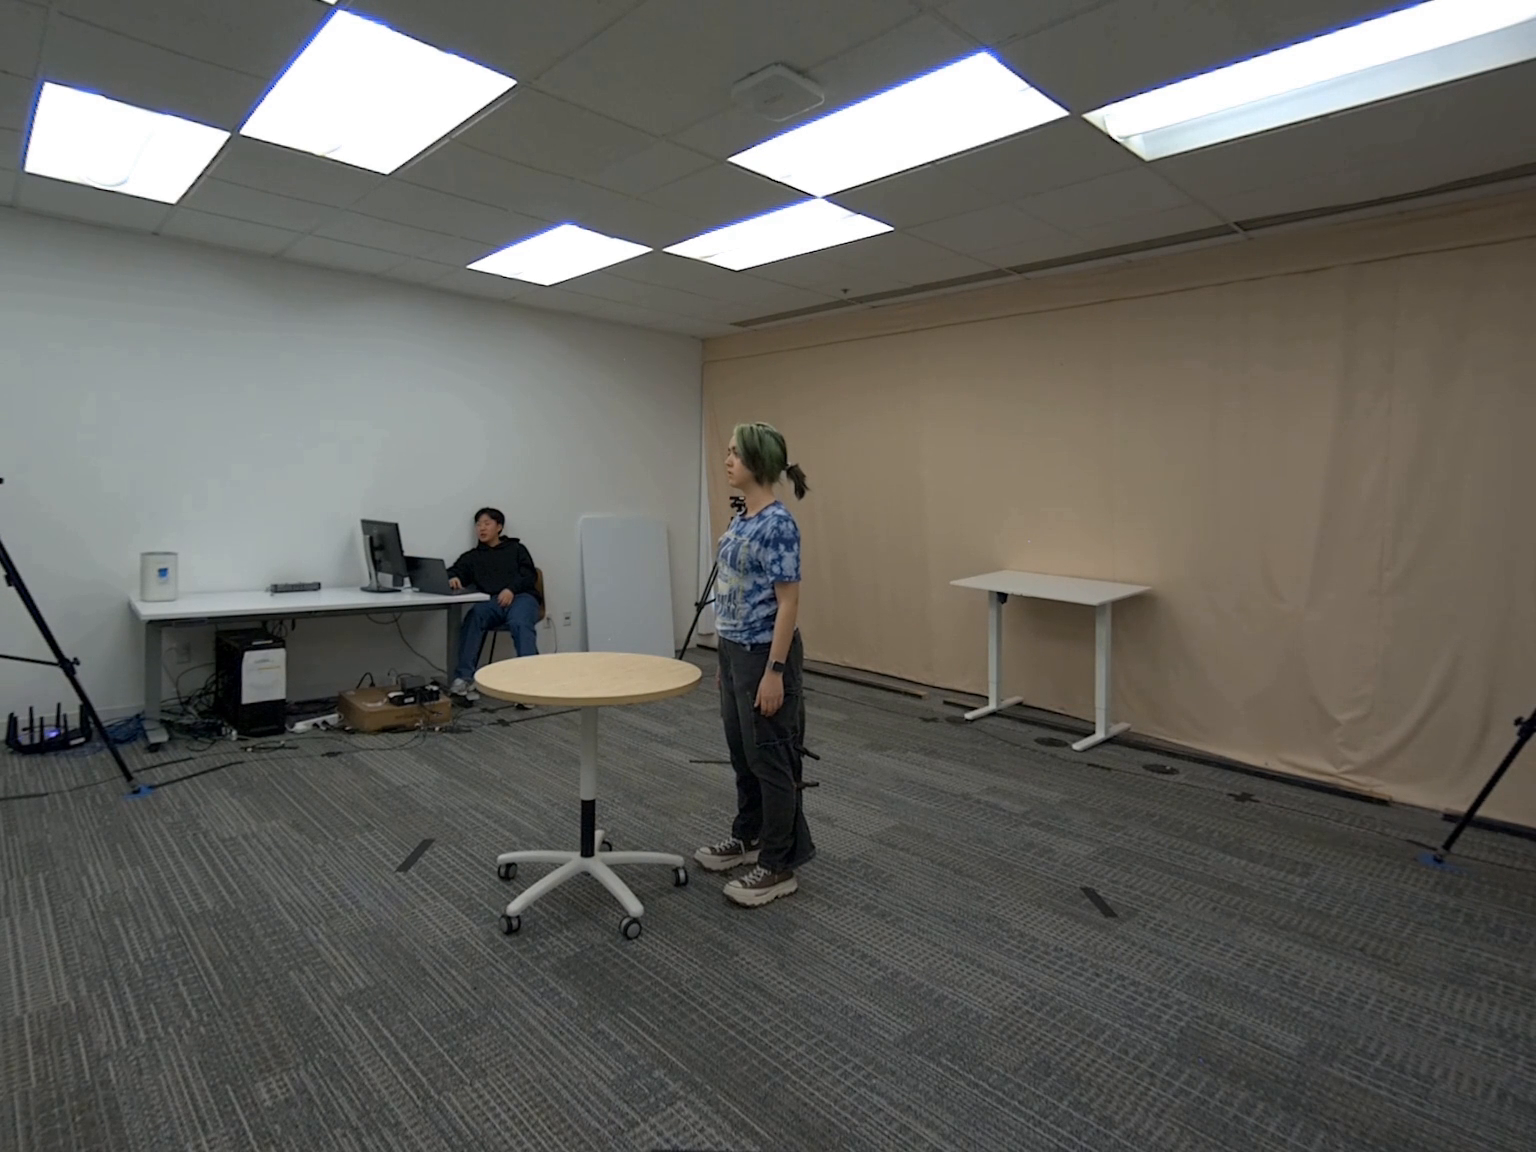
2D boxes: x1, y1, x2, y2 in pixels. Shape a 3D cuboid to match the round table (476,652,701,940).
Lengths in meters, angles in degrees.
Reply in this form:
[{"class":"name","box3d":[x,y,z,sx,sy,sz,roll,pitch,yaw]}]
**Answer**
[{"class":"round table","box3d":[-0.630,0.724,2.906,0.763,0.792,0.766,1,4,-1]}]
